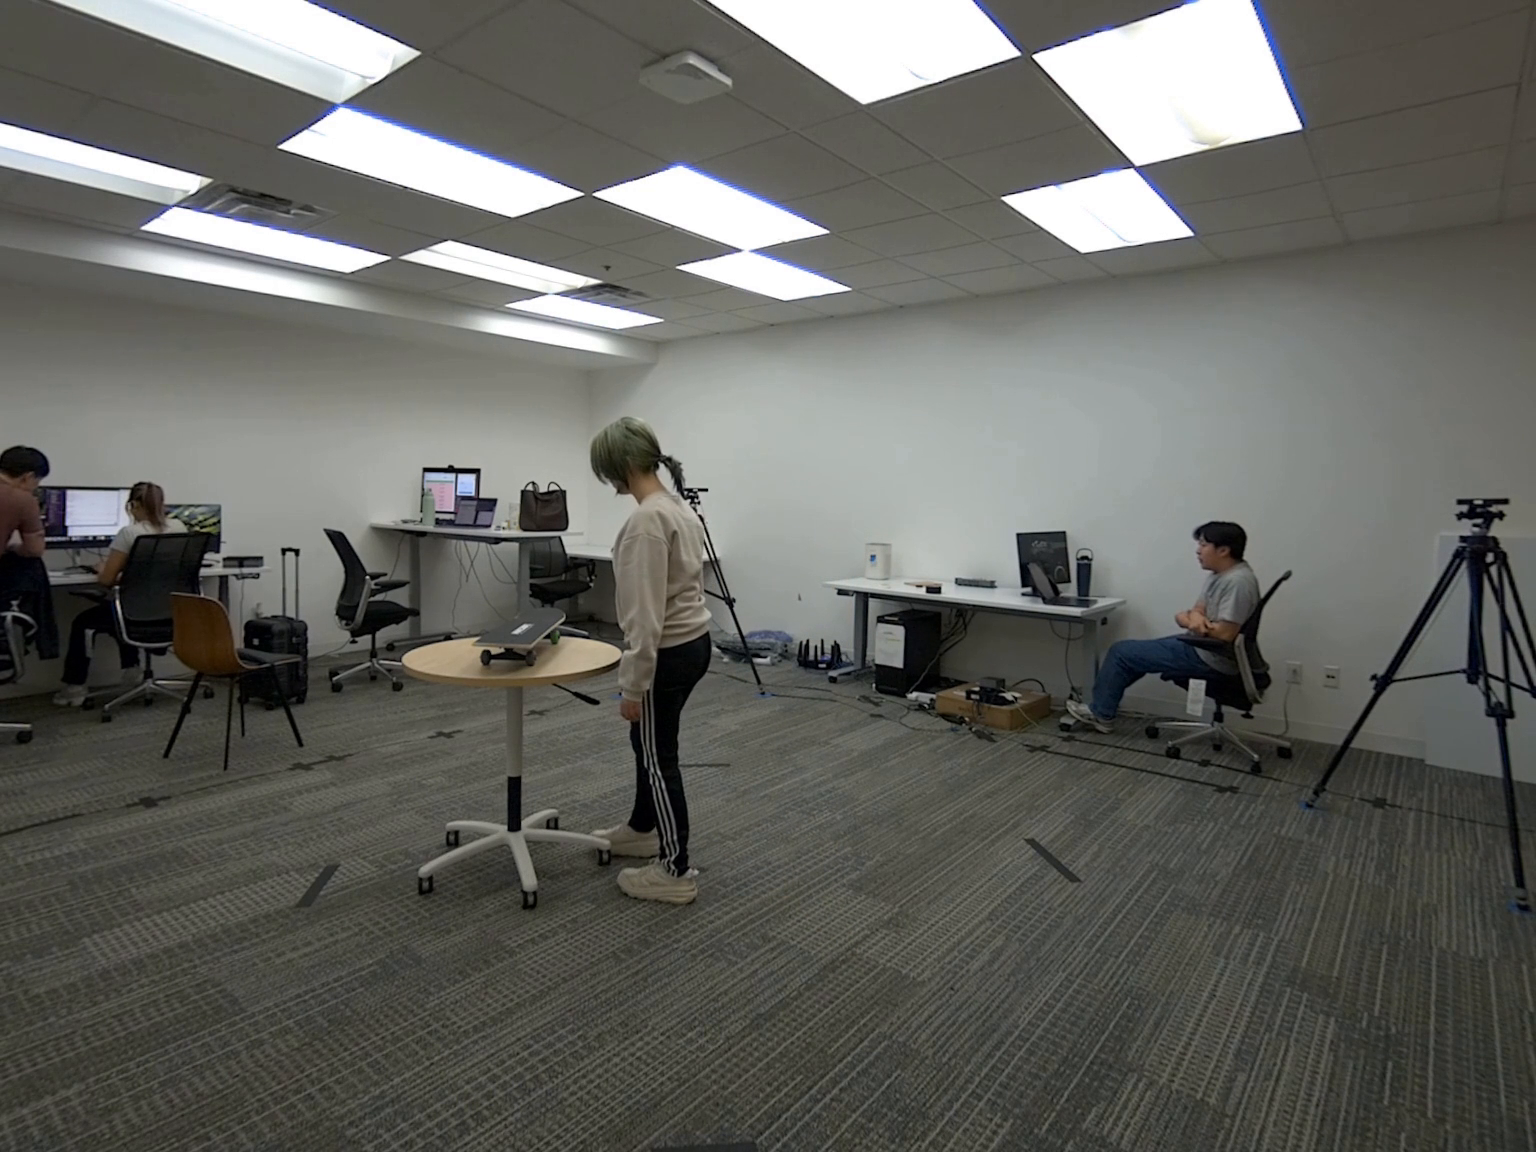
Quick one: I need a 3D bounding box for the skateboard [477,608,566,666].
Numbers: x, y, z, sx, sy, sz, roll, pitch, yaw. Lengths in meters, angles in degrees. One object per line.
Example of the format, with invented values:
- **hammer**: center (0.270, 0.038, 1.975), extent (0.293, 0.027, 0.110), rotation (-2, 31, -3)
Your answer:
- **skateboard**: center (-0.900, 0.231, 3.071), extent (0.193, 0.110, 0.789), rotation (1, 6, -3)
